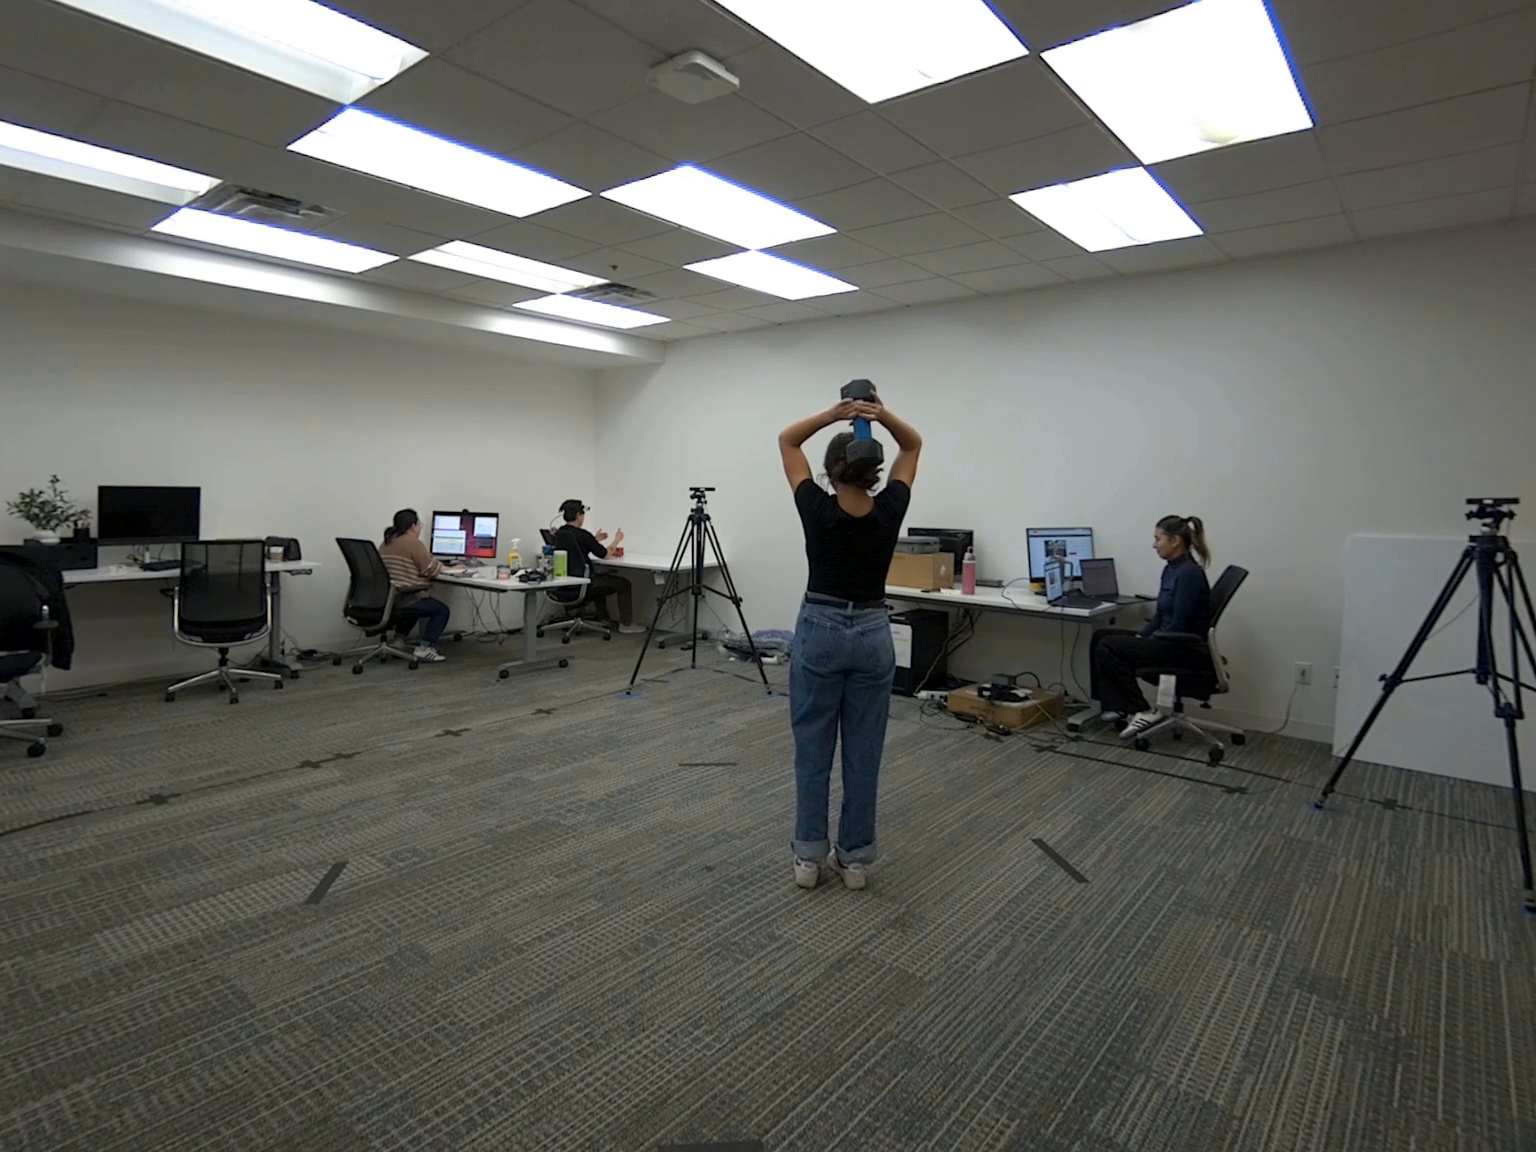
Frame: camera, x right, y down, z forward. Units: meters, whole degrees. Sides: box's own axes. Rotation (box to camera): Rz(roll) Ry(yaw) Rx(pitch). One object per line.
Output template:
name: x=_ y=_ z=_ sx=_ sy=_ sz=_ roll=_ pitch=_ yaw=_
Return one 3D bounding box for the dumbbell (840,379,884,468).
dumbbell: x=0.307 y=-0.516 z=2.861 sx=0.111 sy=0.298 sz=0.118 roll=-11 pitch=-18 yaw=30
